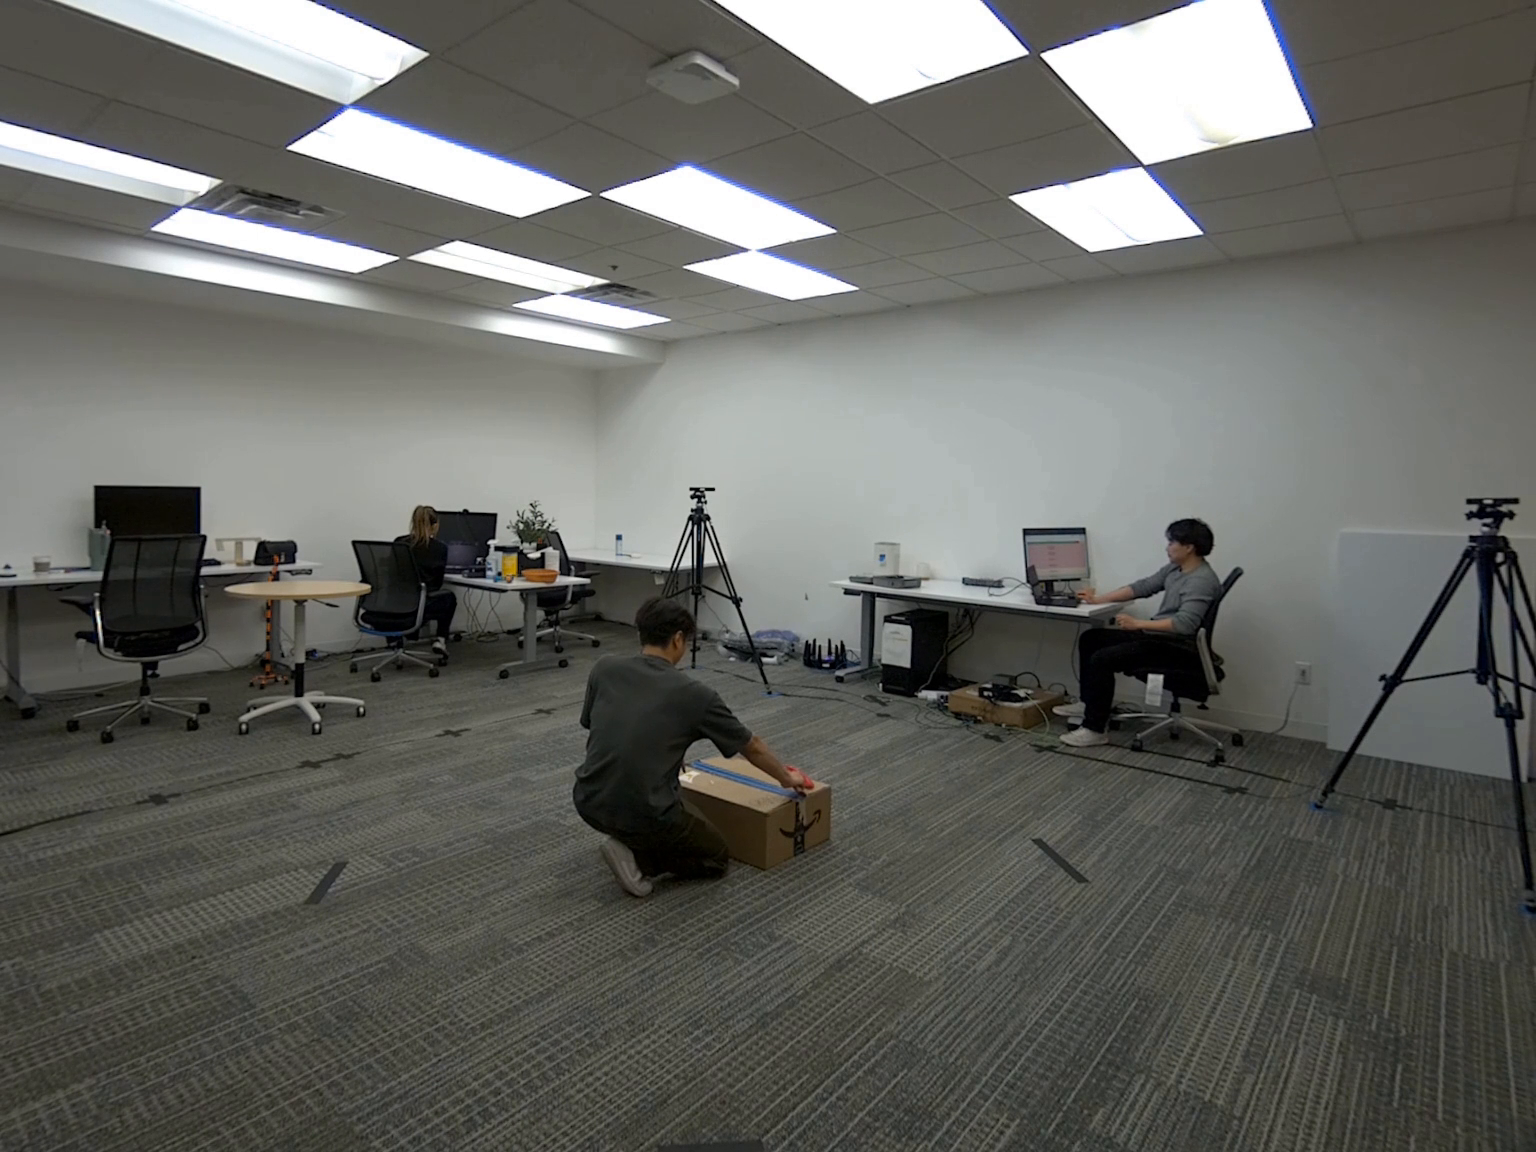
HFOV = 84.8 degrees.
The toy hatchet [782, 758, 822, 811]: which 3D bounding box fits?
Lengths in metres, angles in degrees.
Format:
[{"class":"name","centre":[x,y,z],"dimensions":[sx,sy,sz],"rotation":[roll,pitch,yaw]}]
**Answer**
[{"class":"toy hatchet","centre":[0.122,0.808,3.282],"dimensions":[0.129,0.029,0.274],"rotation":[30,6,-10]}]
